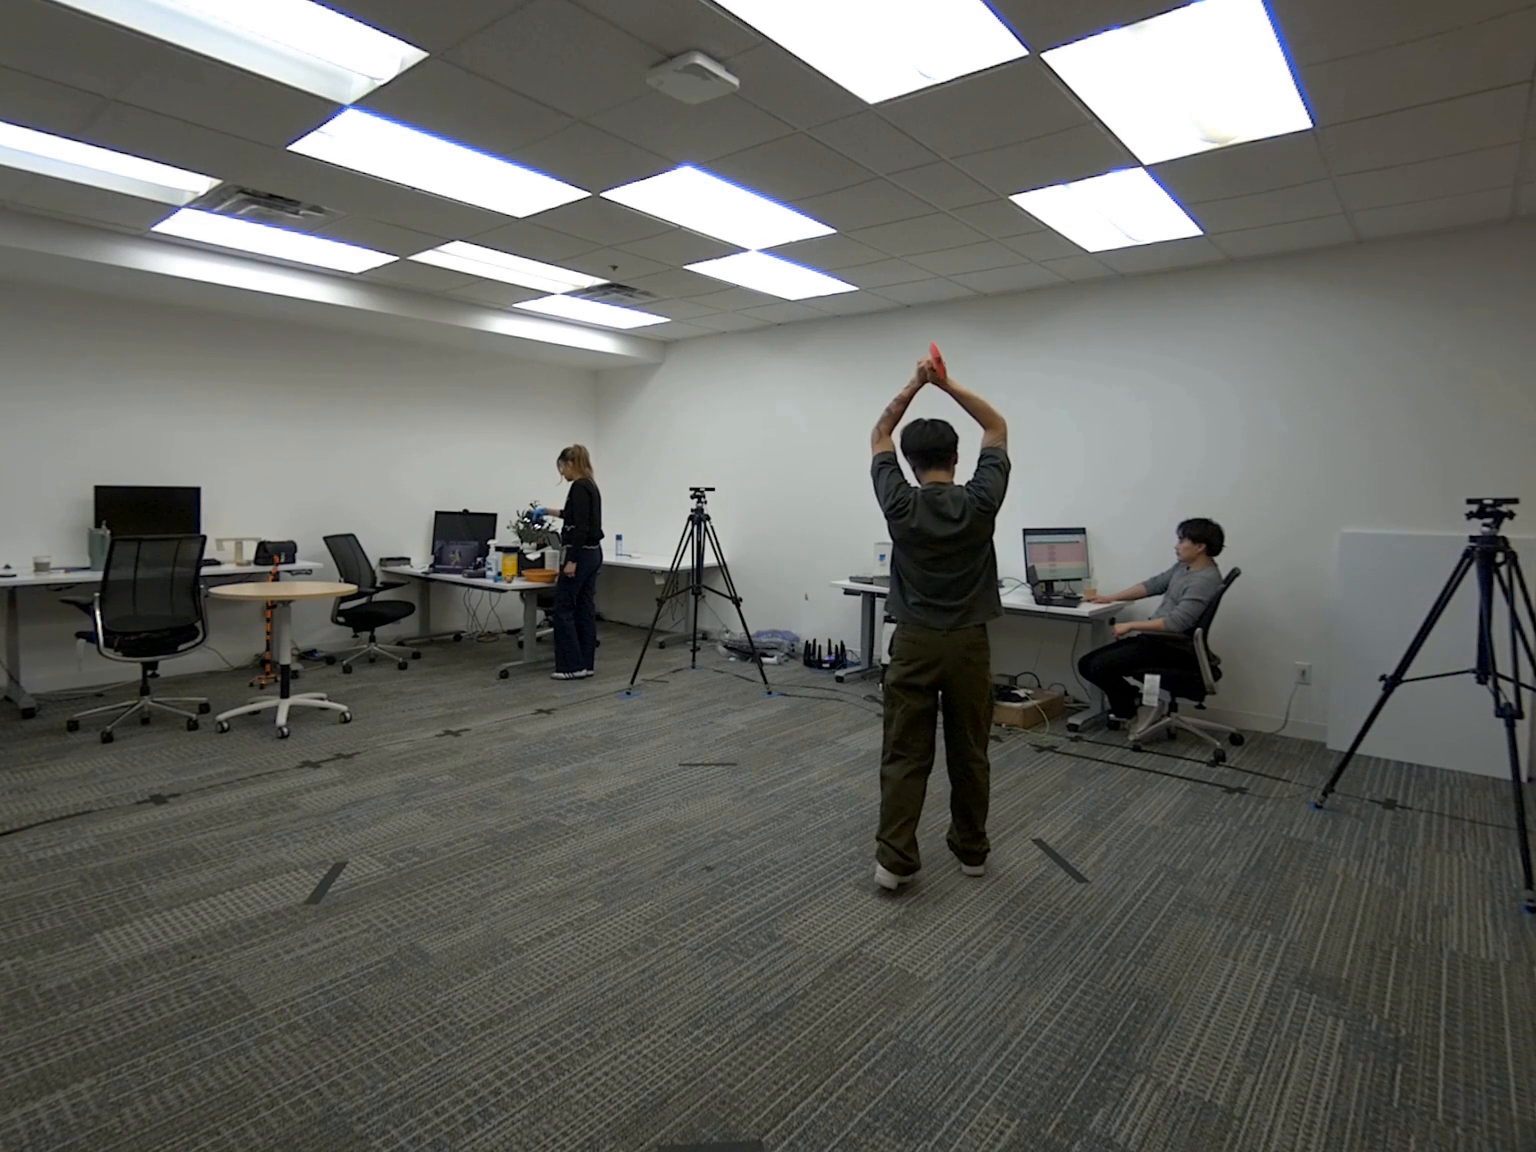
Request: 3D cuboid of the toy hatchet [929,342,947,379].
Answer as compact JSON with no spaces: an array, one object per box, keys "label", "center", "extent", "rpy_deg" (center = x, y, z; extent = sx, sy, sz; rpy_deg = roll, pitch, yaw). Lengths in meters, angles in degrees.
[{"label":"toy hatchet","center":[0.571,-0.773,2.996],"extent":[0.030,0.128,0.275],"rpy_deg":[-16,20,4]}]
